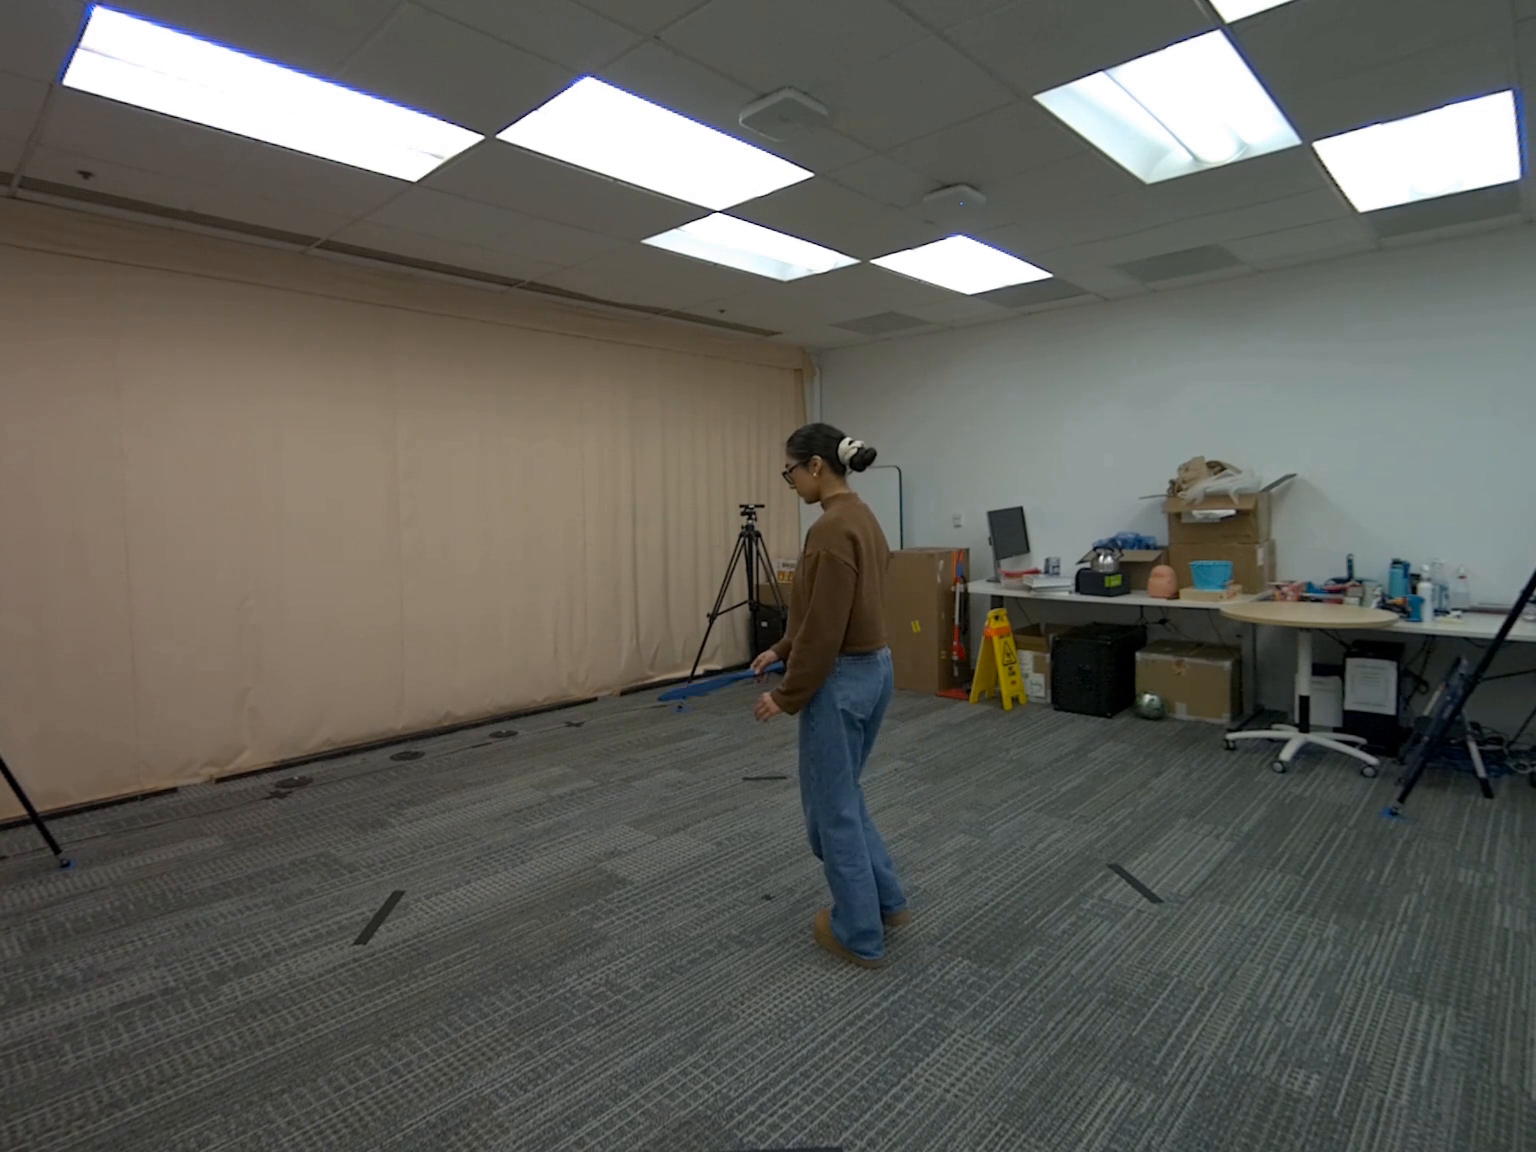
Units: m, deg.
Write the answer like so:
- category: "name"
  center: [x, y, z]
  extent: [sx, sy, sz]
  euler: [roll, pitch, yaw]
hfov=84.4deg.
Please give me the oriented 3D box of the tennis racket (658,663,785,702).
- category: "tennis racket"
  center: [-0.136, 0.357, 2.749]
  extent: [0.435, 0.032, 0.209]
  euler: [-16, -16, 5]
